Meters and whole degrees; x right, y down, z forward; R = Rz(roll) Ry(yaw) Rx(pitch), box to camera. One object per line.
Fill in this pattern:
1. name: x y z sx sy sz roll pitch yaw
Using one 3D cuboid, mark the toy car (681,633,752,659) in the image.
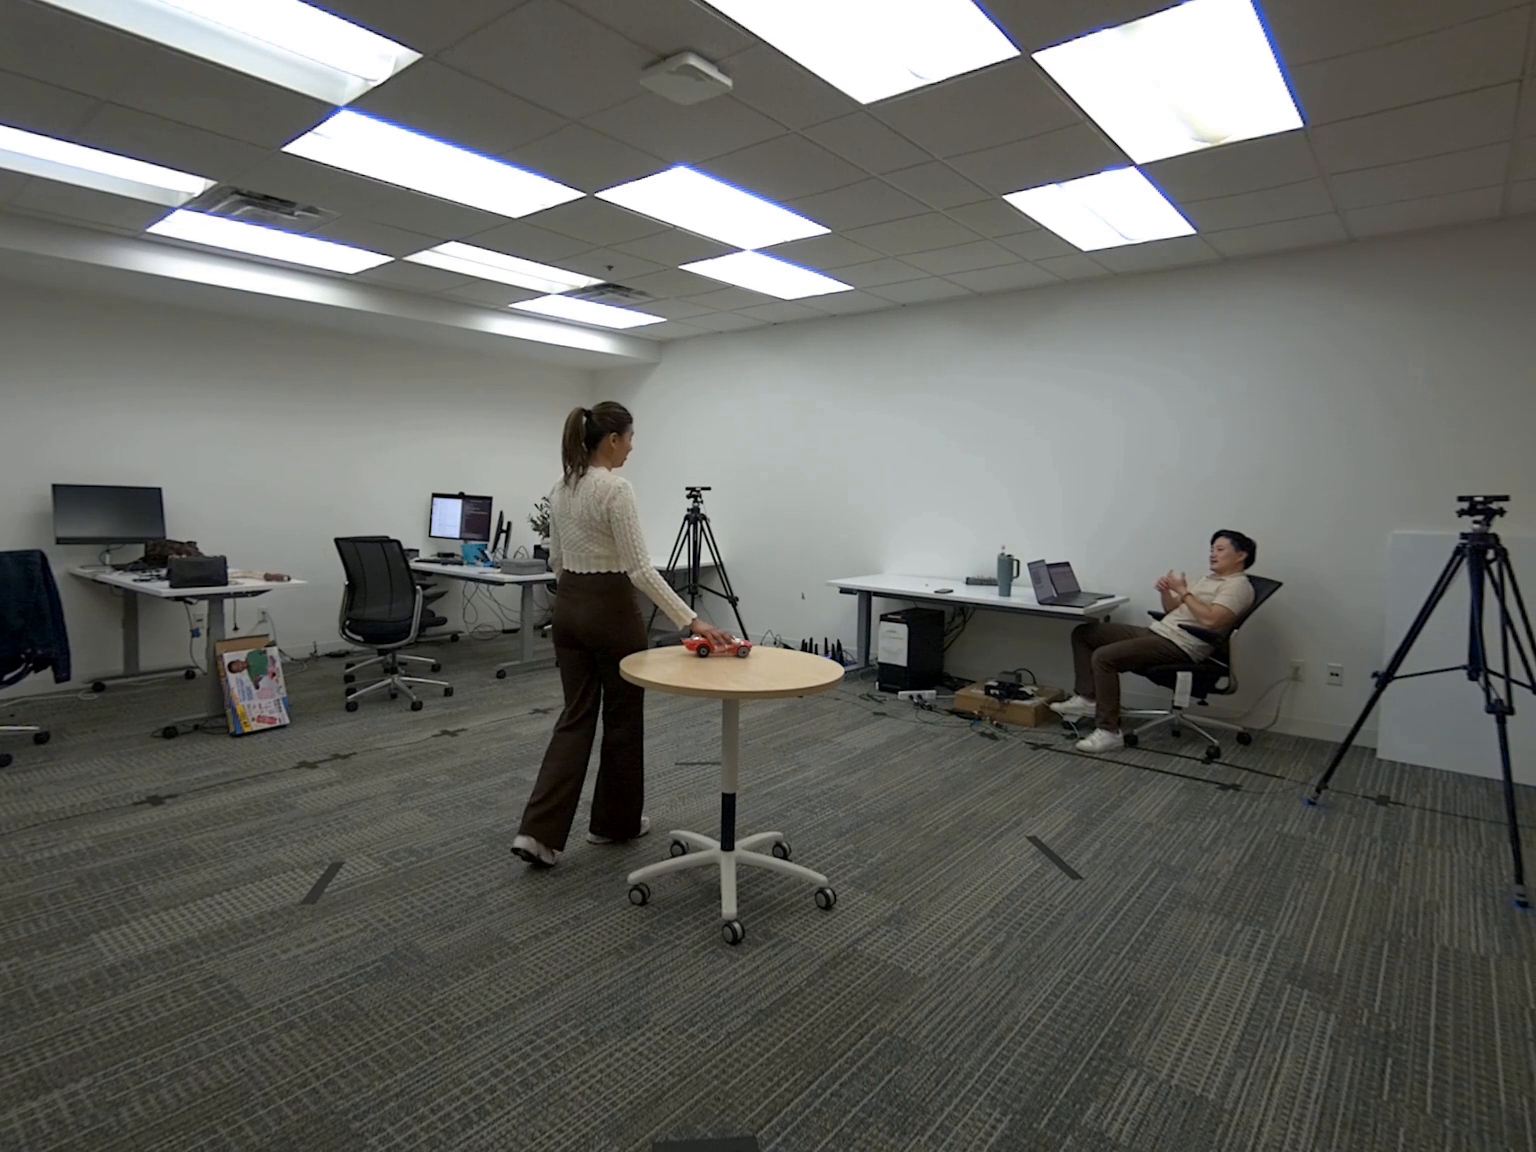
1. toy car: -0.201 0.250 3.075 0.252 0.083 0.132 12 2 -8
